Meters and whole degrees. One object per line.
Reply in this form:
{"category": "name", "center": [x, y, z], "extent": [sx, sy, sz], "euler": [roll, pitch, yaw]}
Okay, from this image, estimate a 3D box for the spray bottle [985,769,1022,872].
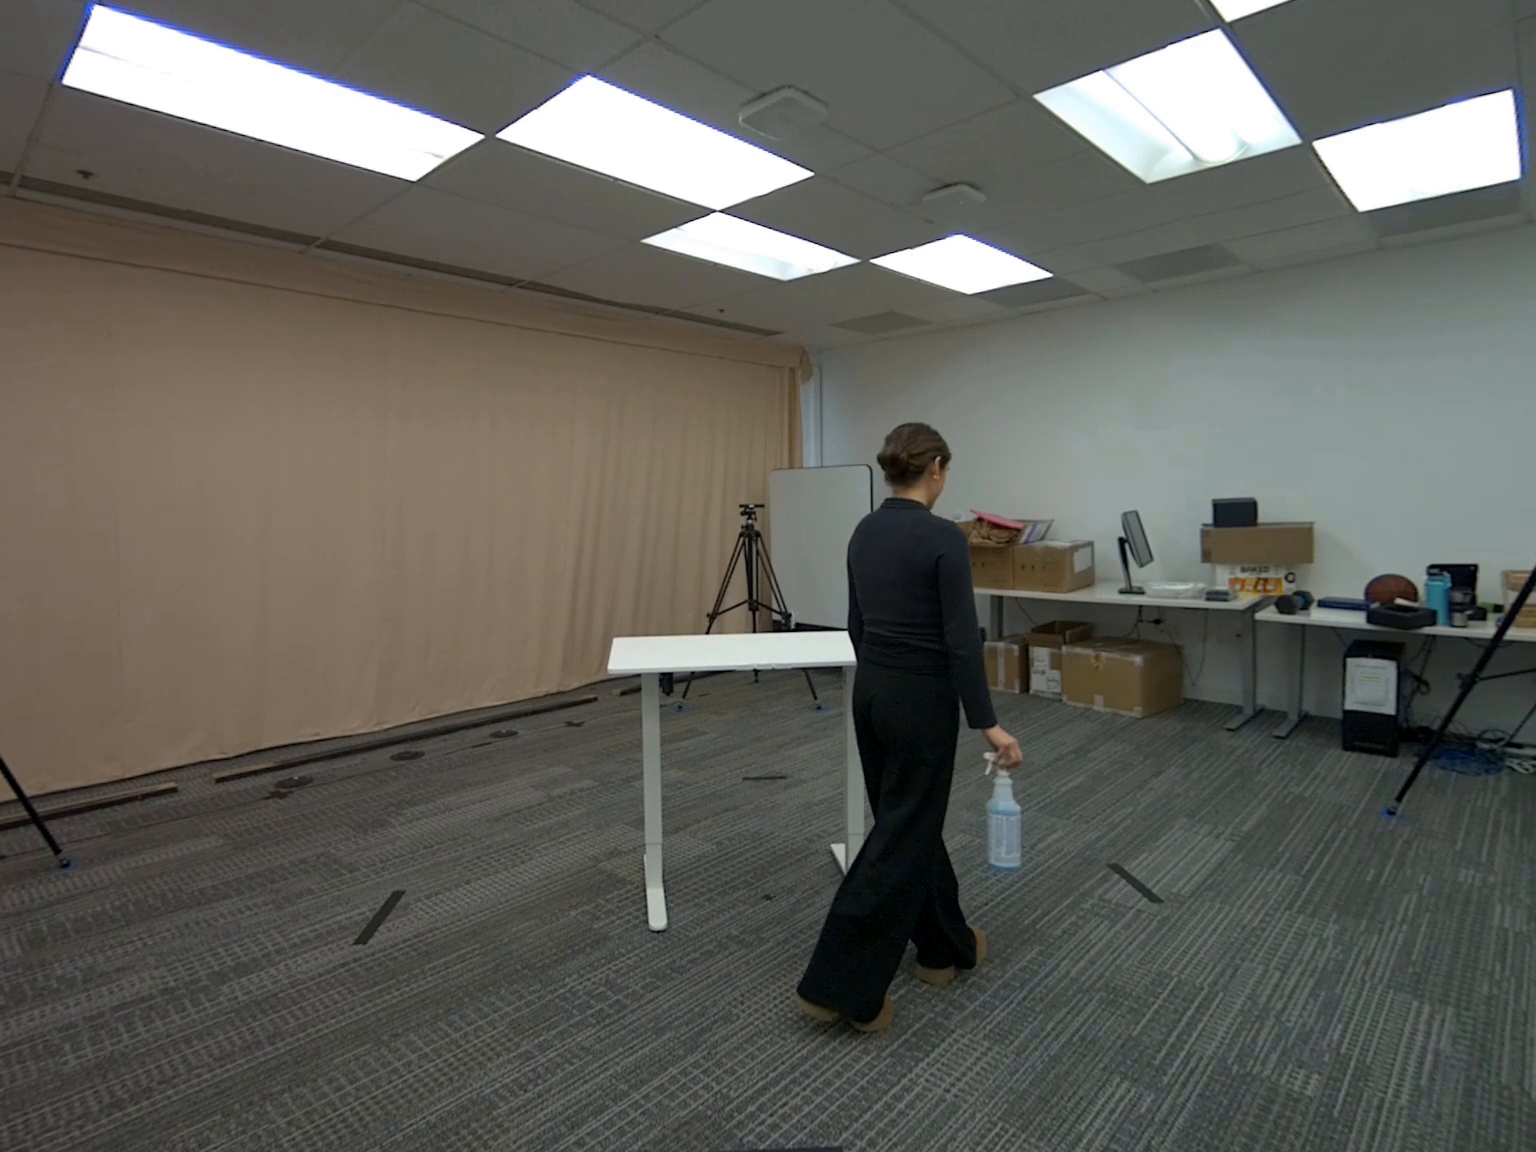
{"category": "spray bottle", "center": [0.618, 0.612, 2.184], "extent": [0.091, 0.298, 0.086], "euler": [-3, -2, 8]}
